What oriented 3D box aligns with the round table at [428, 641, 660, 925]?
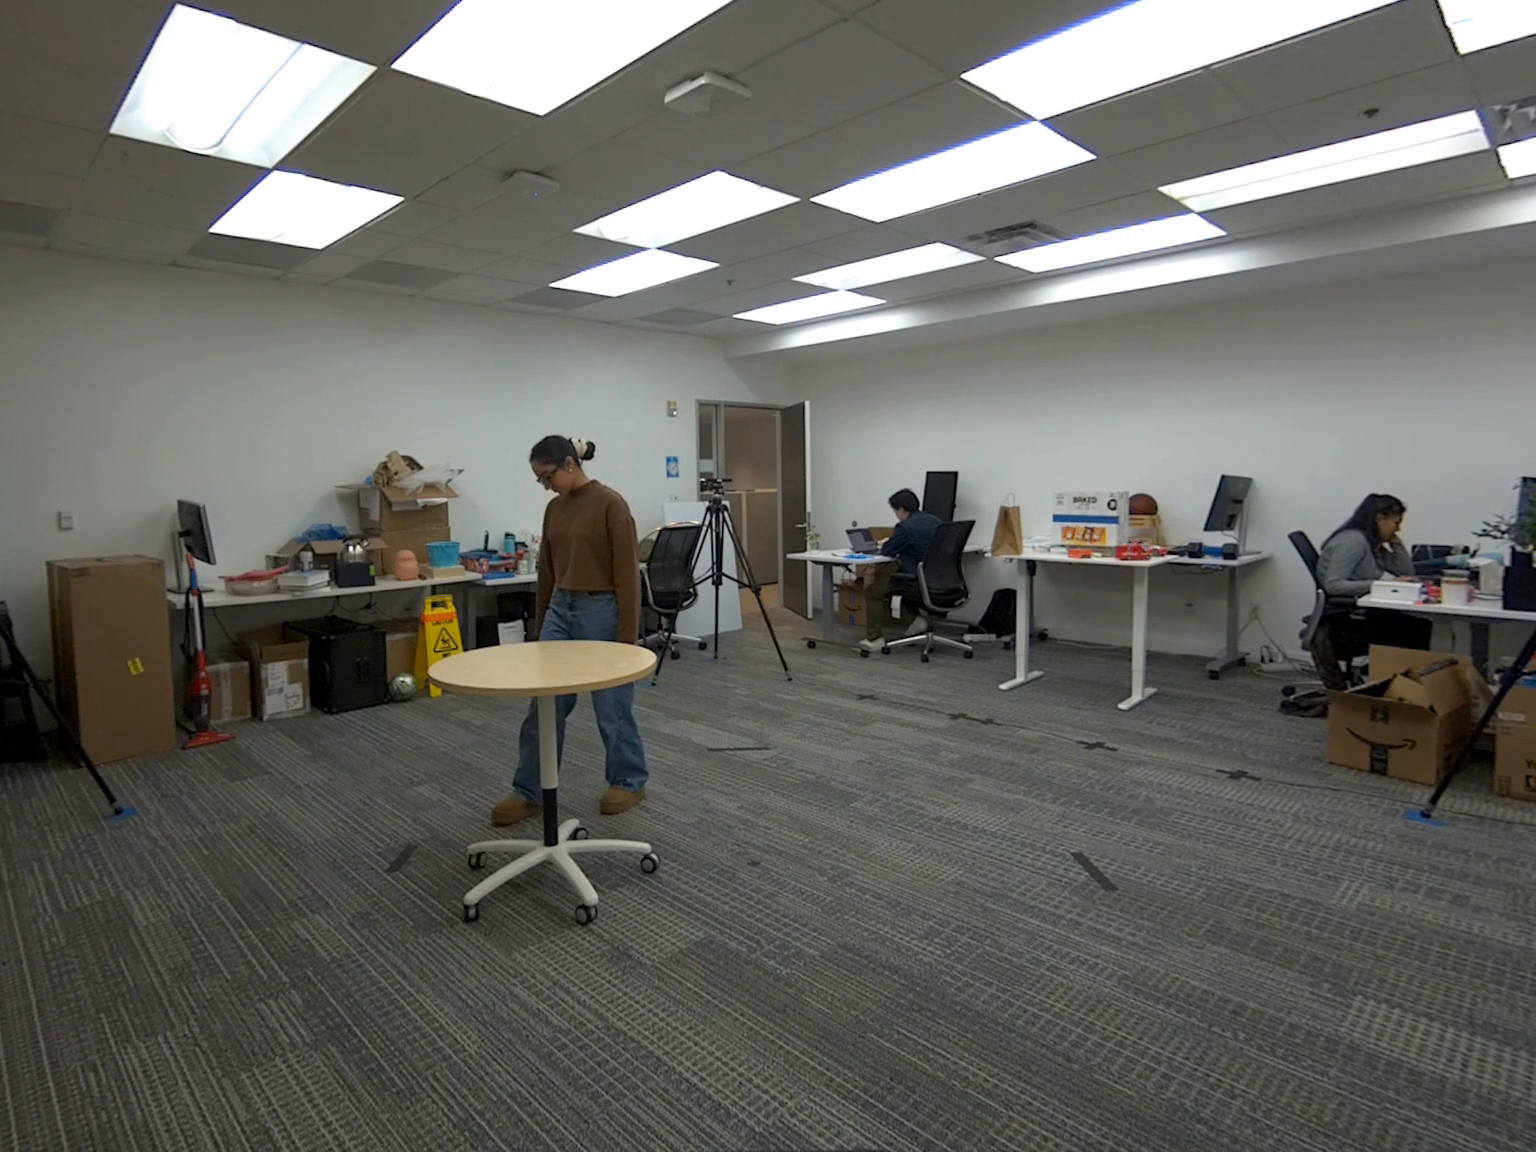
[{"bbox_3d":[-0.754,0.687,2.967,0.763,0.791,0.768,-1,5,-2],"label":"round table"}]
